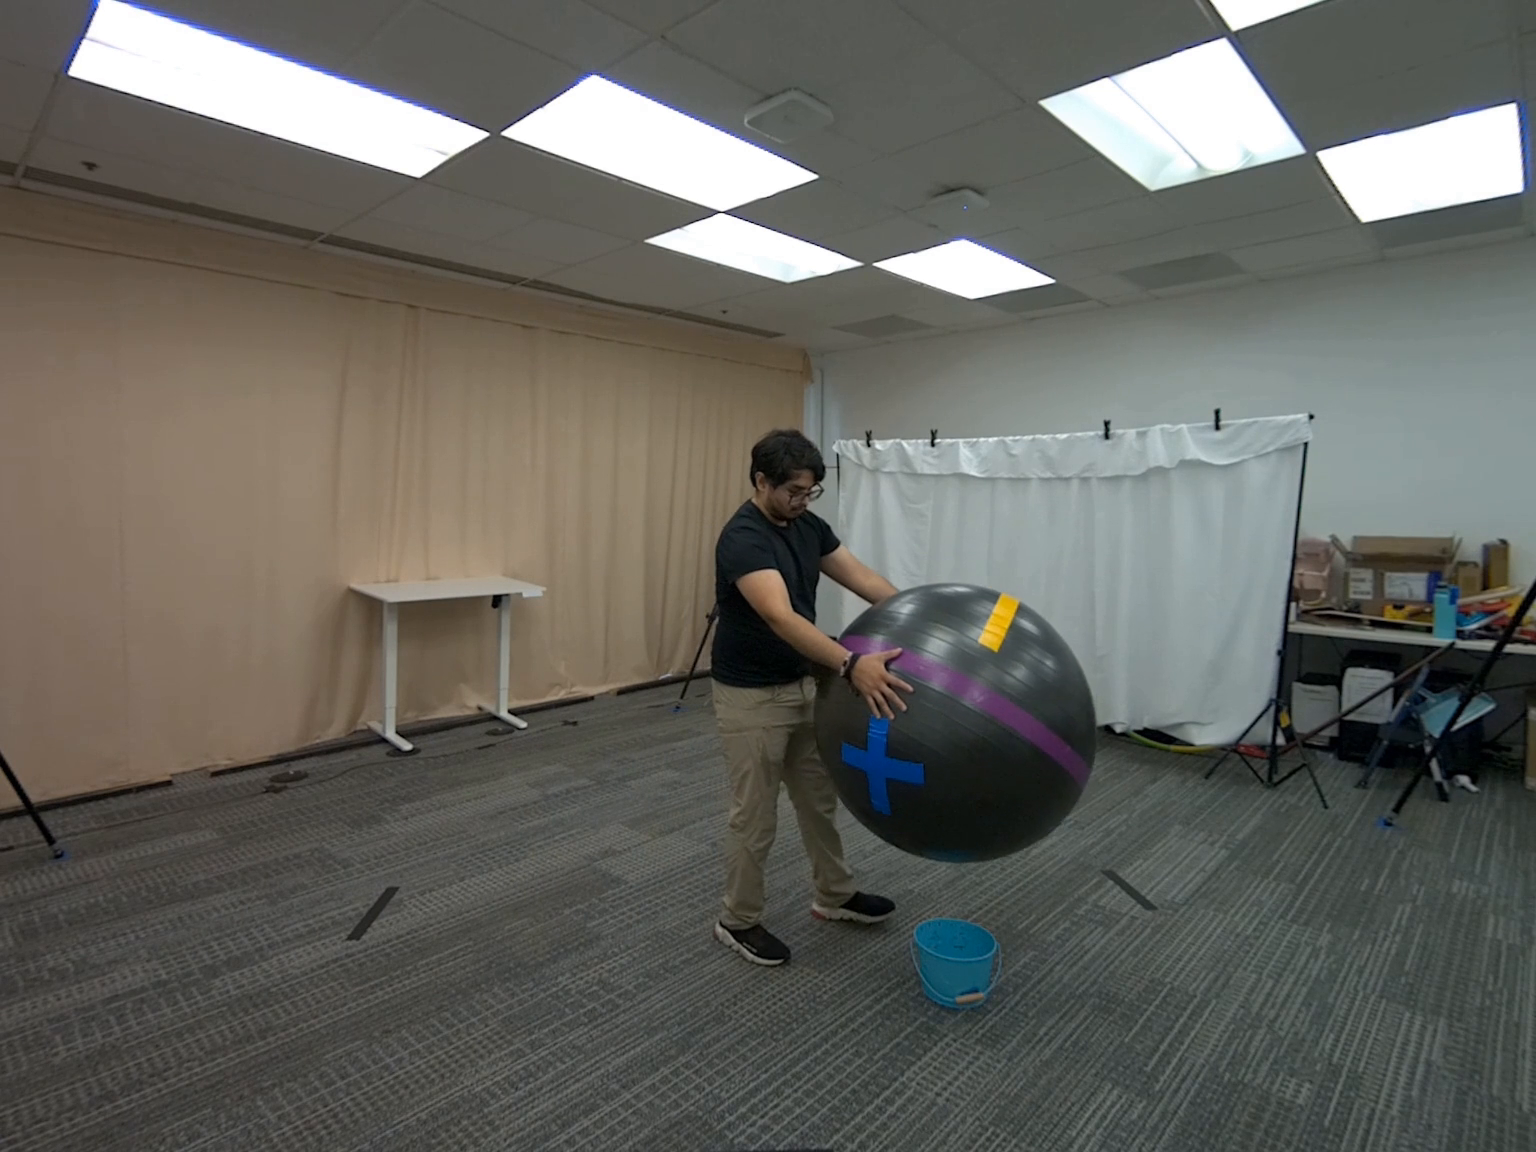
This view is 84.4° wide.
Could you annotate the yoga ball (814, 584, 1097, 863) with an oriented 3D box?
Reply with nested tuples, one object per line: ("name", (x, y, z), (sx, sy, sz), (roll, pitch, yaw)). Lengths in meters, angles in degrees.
("yoga ball", (0.516, 0.413, 2.352), (0.757, 0.756, 0.760), (0, 4, -2))
